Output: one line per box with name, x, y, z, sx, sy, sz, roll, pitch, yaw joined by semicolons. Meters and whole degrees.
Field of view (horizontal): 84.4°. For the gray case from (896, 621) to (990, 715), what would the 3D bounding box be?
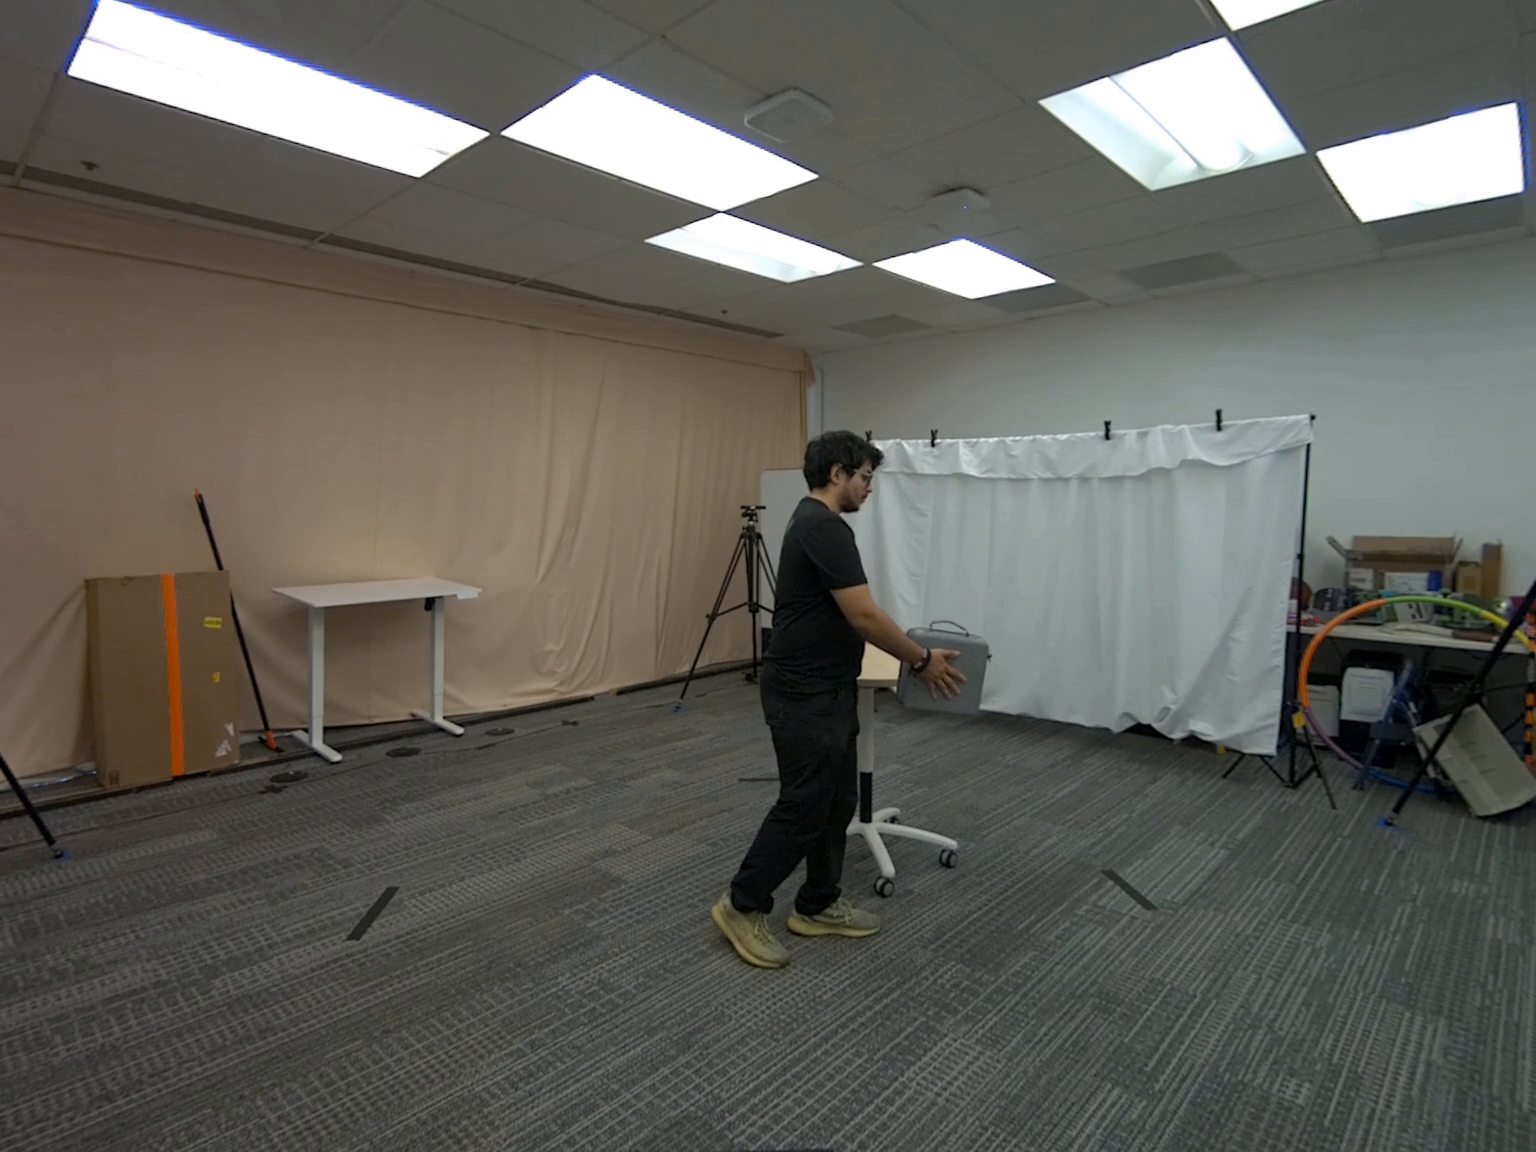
gray case;0.559;0.305;2.641;0.257;0.260;0.104;7;6;1
